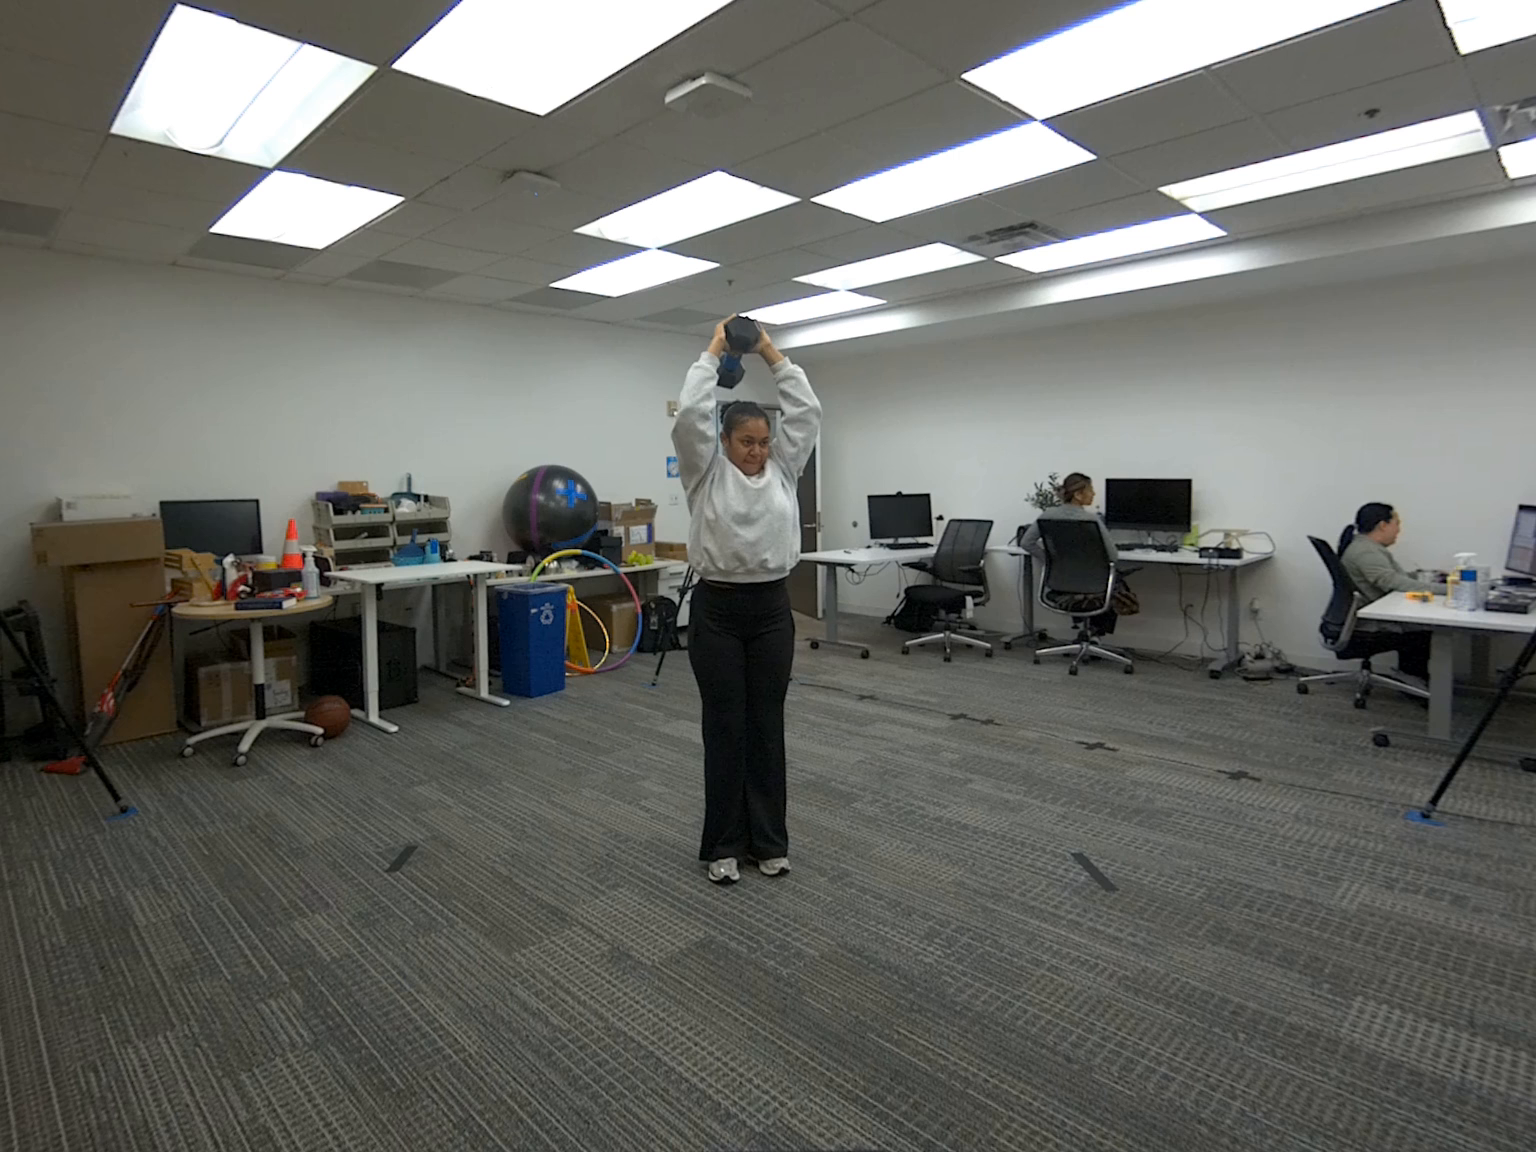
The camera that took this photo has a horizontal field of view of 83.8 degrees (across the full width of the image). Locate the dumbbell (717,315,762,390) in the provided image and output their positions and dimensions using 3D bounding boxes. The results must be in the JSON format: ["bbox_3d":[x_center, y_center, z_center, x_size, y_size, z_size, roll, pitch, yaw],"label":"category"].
[{"bbox_3d":[-0.118,-0.784,3.031,0.110,0.123,0.290,38,-29,6],"label":"dumbbell"}]
